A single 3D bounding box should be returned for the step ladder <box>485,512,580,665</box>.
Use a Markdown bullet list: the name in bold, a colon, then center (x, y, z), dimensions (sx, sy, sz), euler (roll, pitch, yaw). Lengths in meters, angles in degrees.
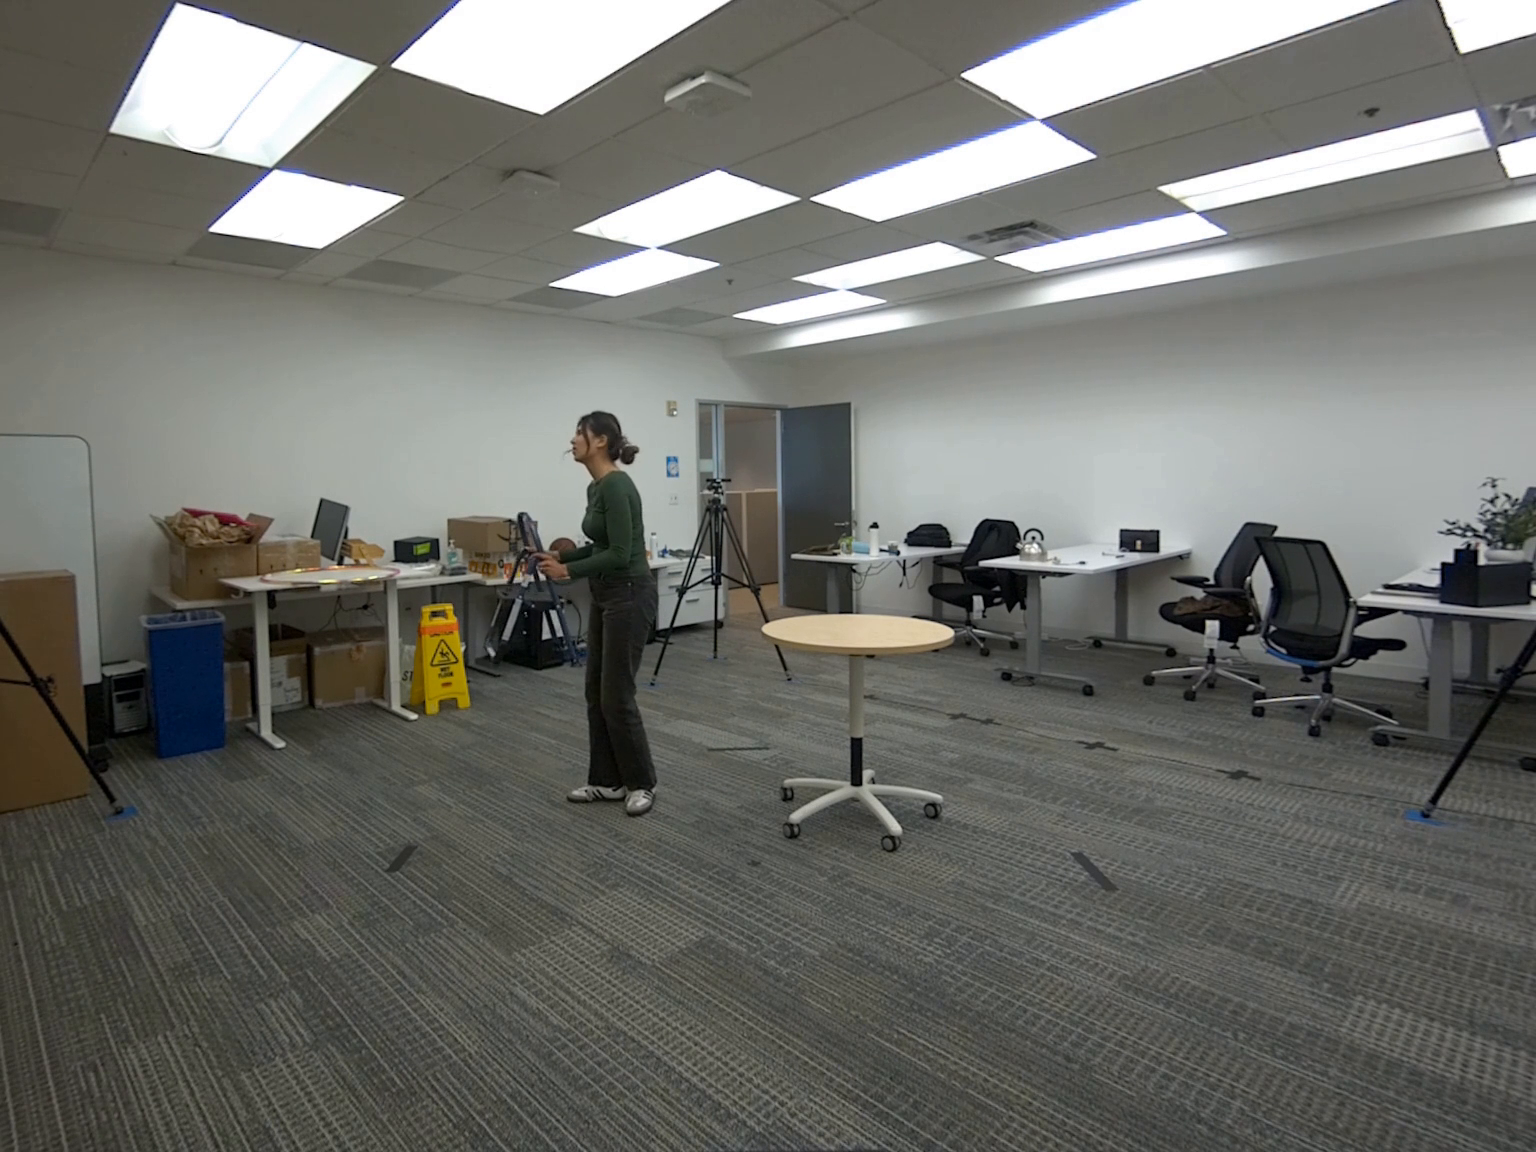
- **step ladder**: center (-0.966, 0.044, 3.592), dimensions (0.341, 0.606, 0.440), euler (4, 0, -24)
